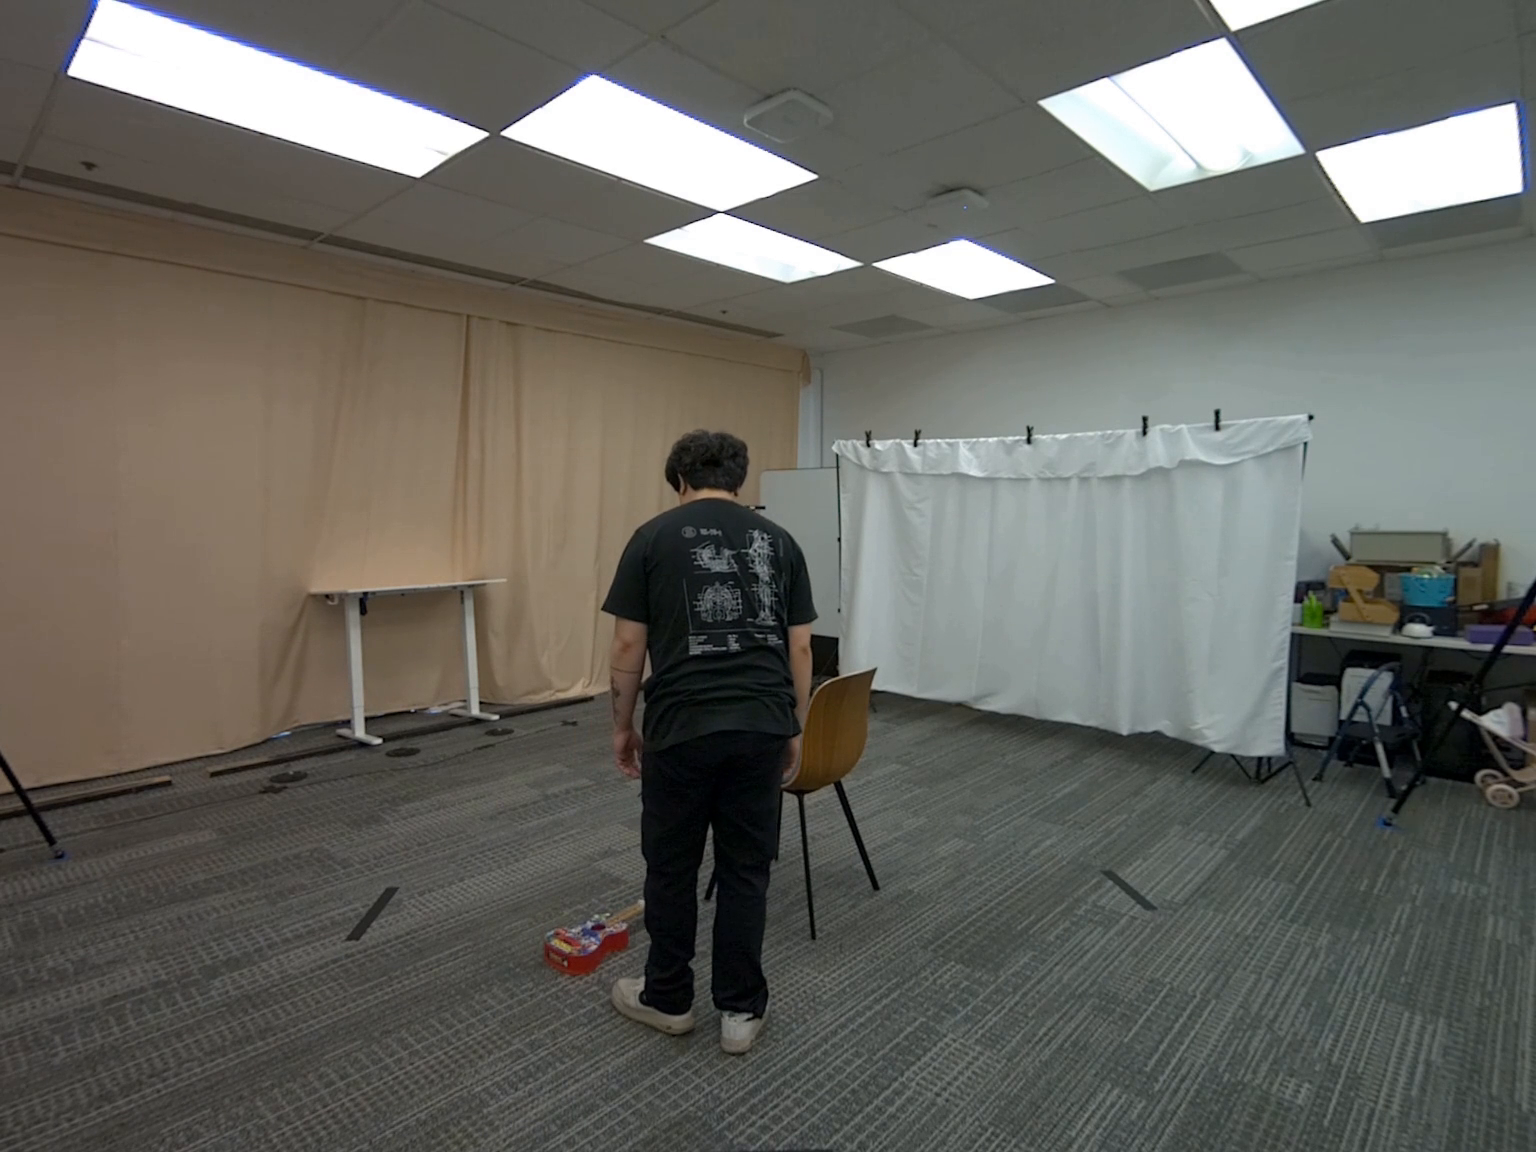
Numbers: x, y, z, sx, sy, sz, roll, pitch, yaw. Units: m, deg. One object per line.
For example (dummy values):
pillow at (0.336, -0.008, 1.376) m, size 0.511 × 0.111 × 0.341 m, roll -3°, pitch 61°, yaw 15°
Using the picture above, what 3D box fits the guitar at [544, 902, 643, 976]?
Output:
guitar at (-0.476, 1.141, 2.701) m, size 0.483 × 0.070 × 0.199 m, roll -5°, pitch 6°, yaw -42°
